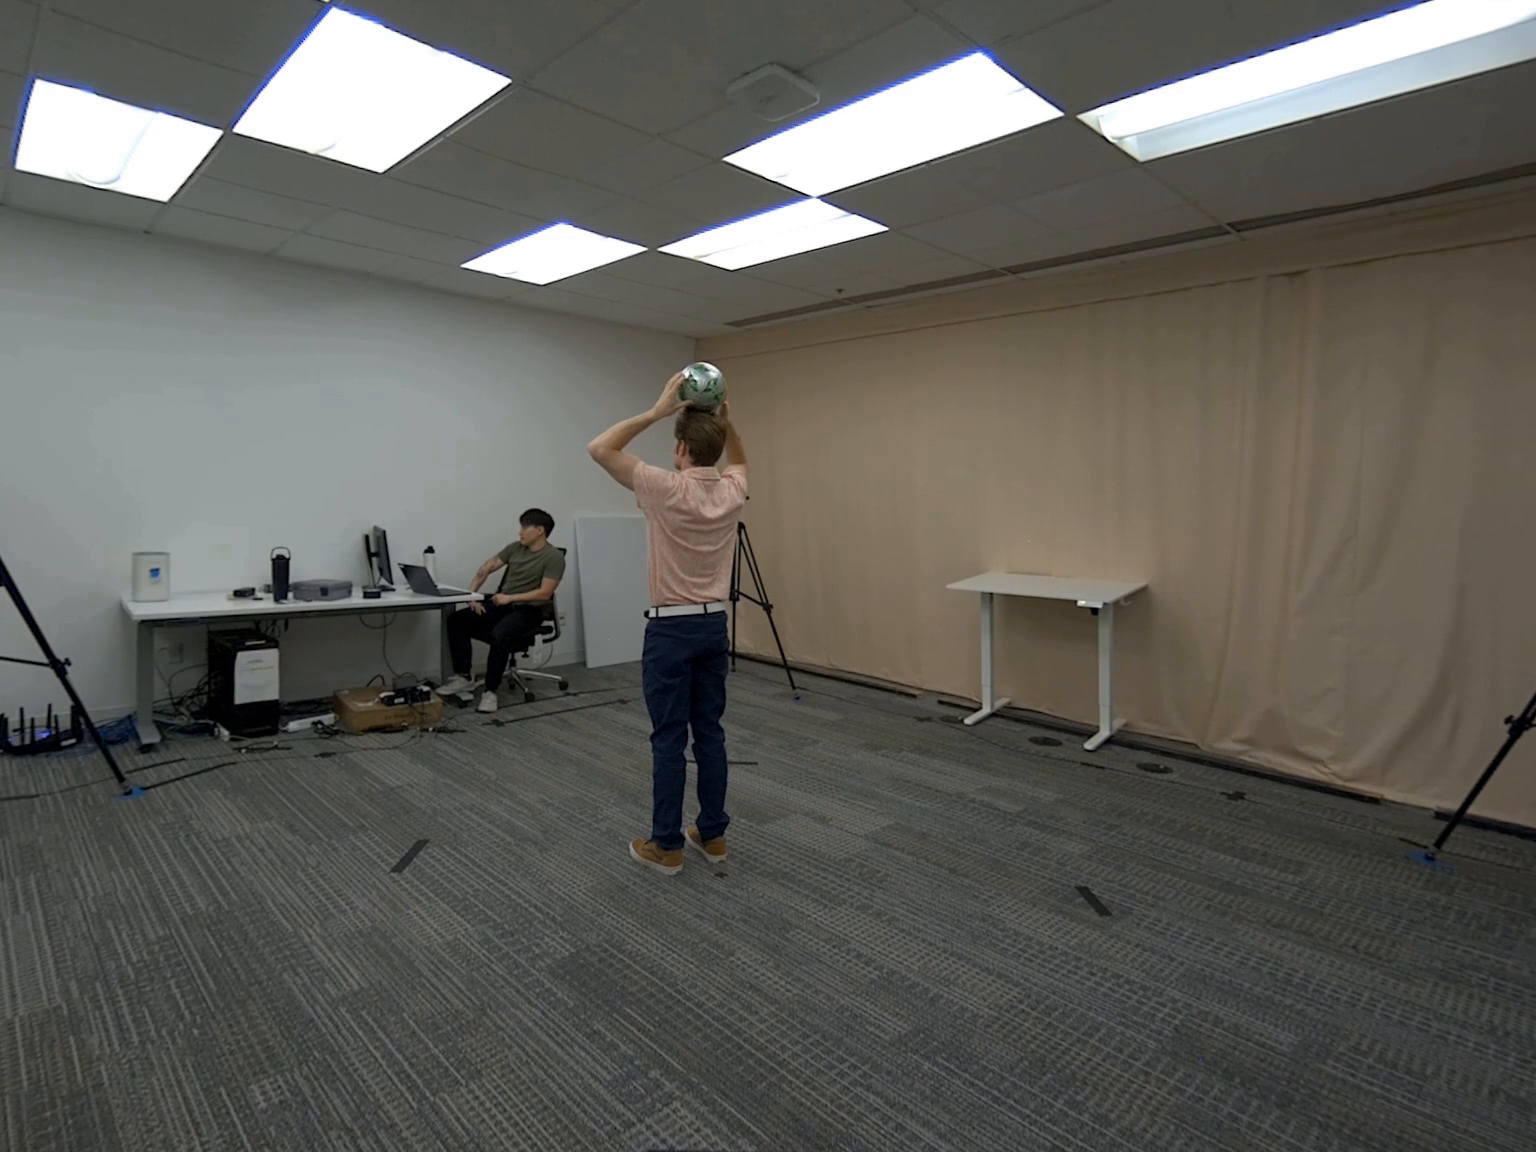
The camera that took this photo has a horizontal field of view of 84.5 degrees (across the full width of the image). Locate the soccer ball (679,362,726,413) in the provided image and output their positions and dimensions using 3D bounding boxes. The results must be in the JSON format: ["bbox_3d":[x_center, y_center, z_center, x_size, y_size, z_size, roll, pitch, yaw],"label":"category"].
[{"bbox_3d":[-0.258,-0.693,3.137,0.187,0.187,0.188,1,4,-1],"label":"soccer ball"}]
